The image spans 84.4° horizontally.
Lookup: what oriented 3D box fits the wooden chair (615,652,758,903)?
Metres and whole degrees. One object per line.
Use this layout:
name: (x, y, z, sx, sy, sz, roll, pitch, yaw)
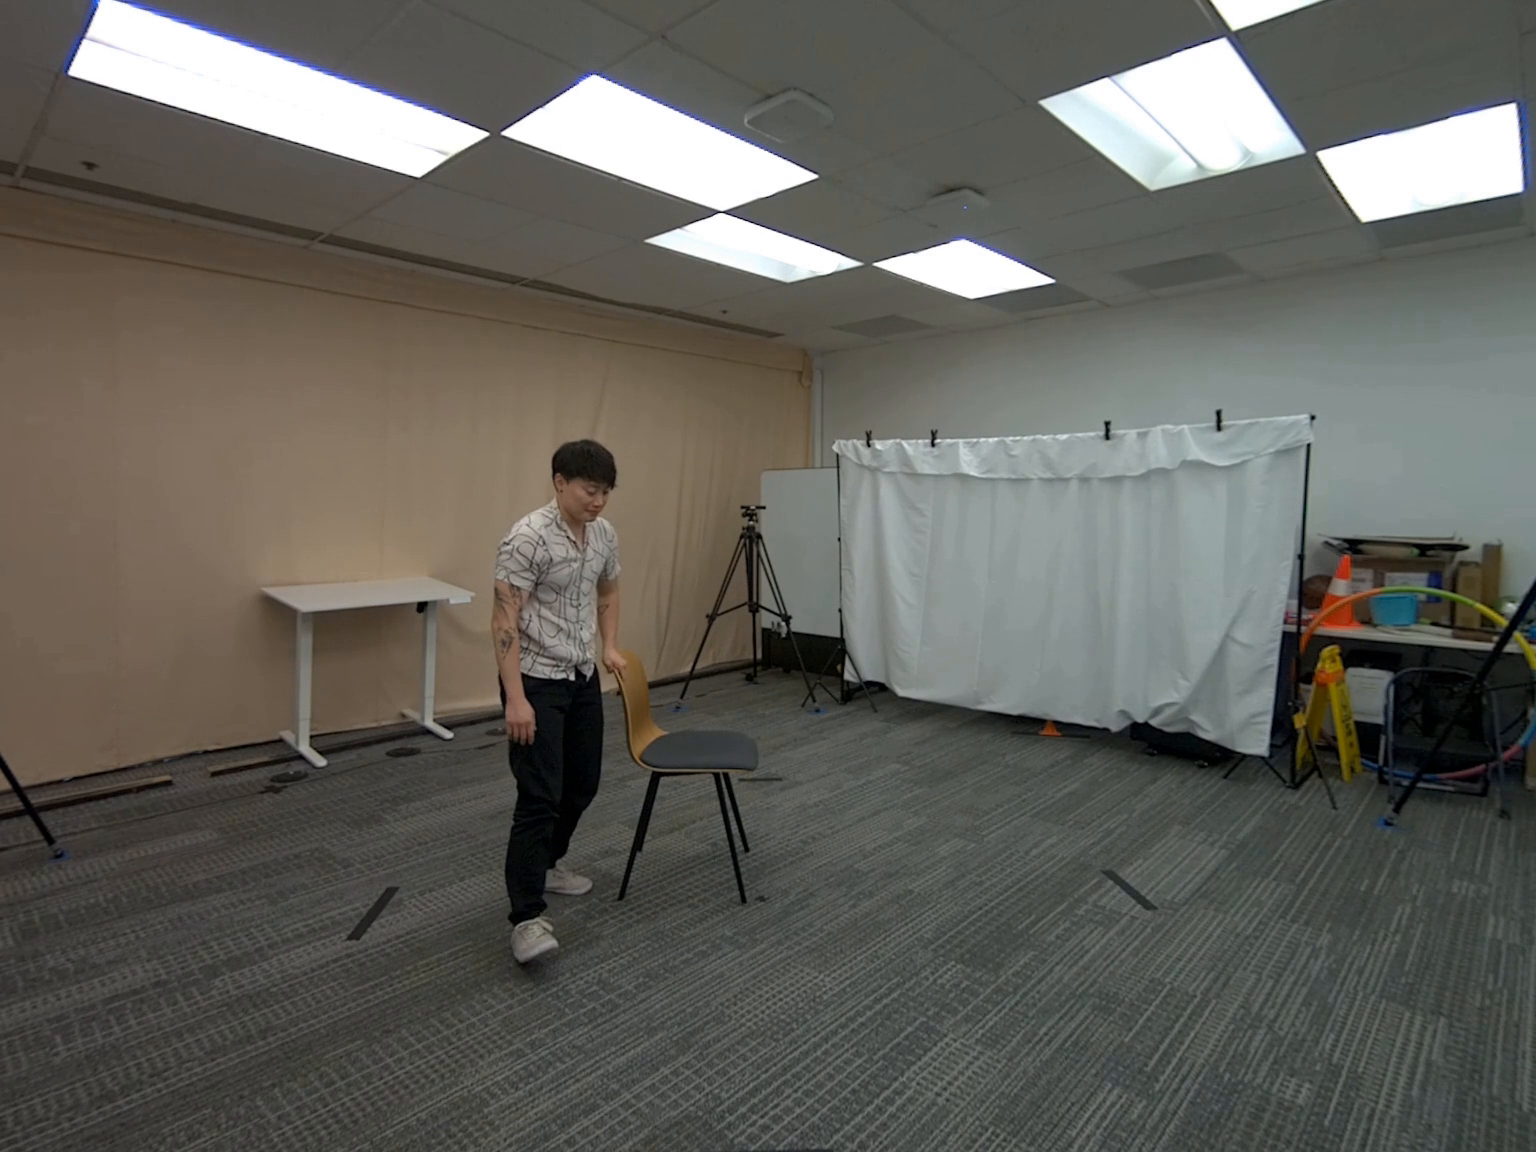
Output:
wooden chair: (-0.297, 0.705, 3.155, 0.525, 0.876, 0.478, -4, 2, 2)
